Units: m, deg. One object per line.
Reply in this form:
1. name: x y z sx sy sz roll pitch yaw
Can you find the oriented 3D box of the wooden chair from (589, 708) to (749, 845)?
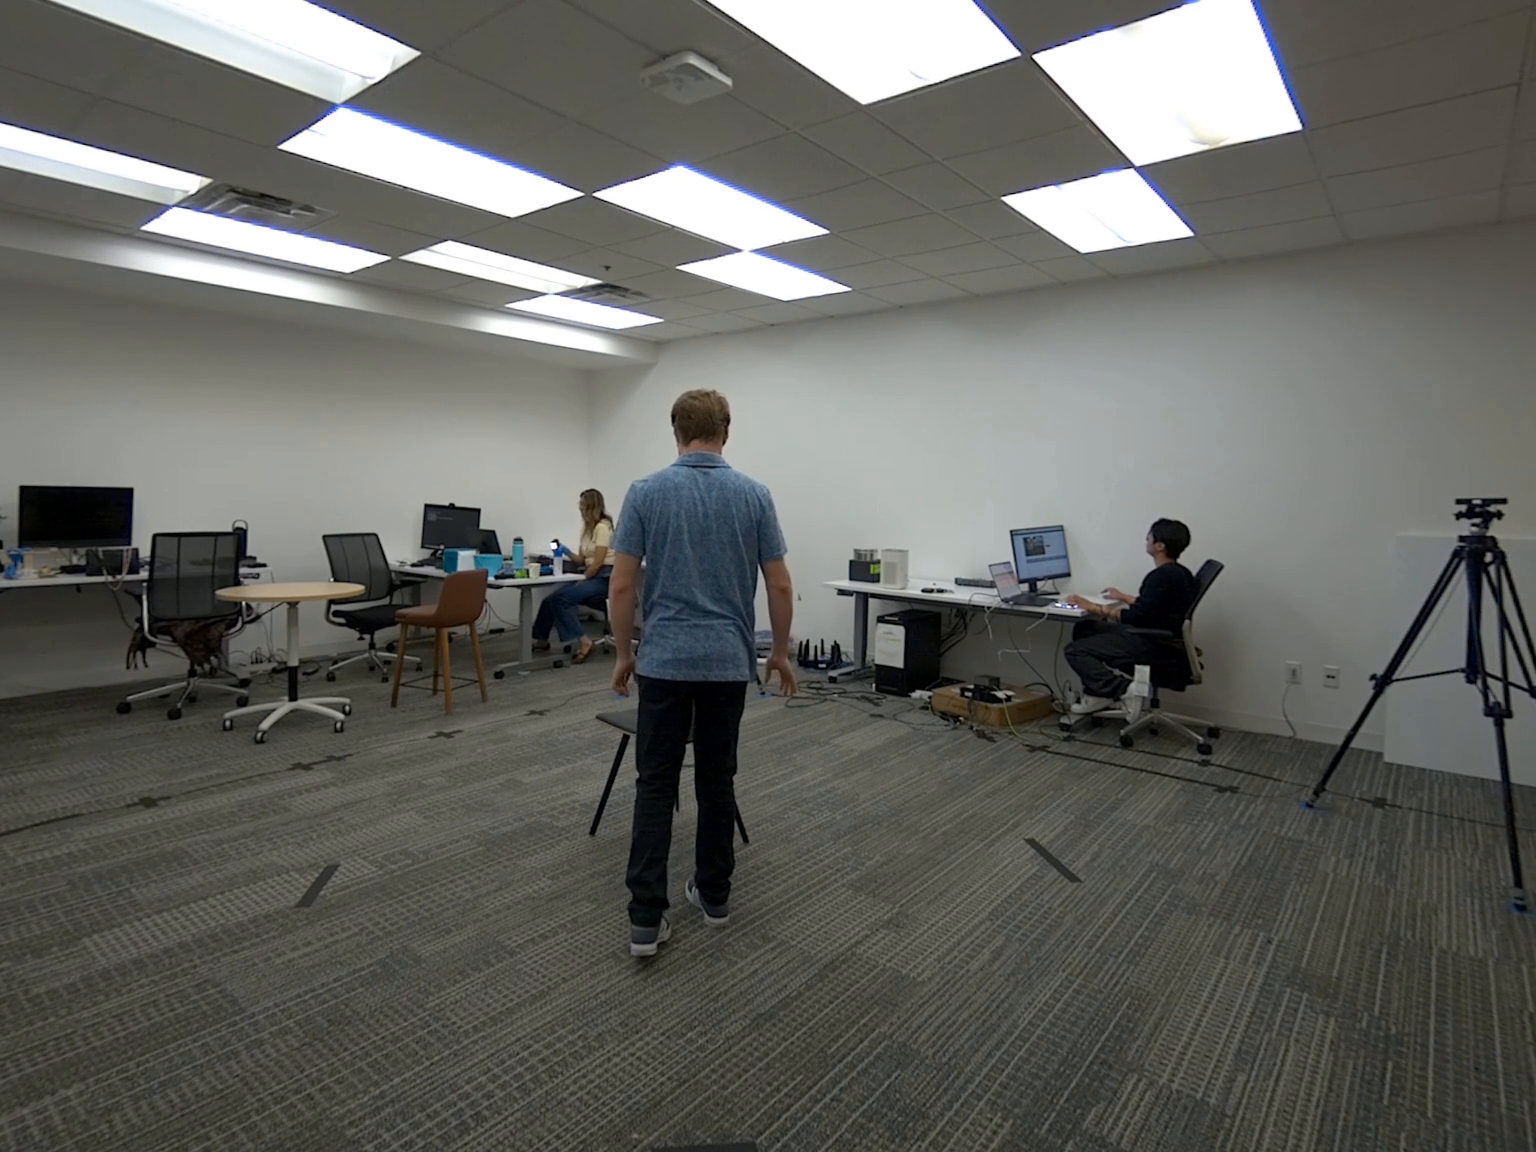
1. wooden chair: -0.397 0.612 3.352 0.463 0.872 0.542 -2 9 -43
